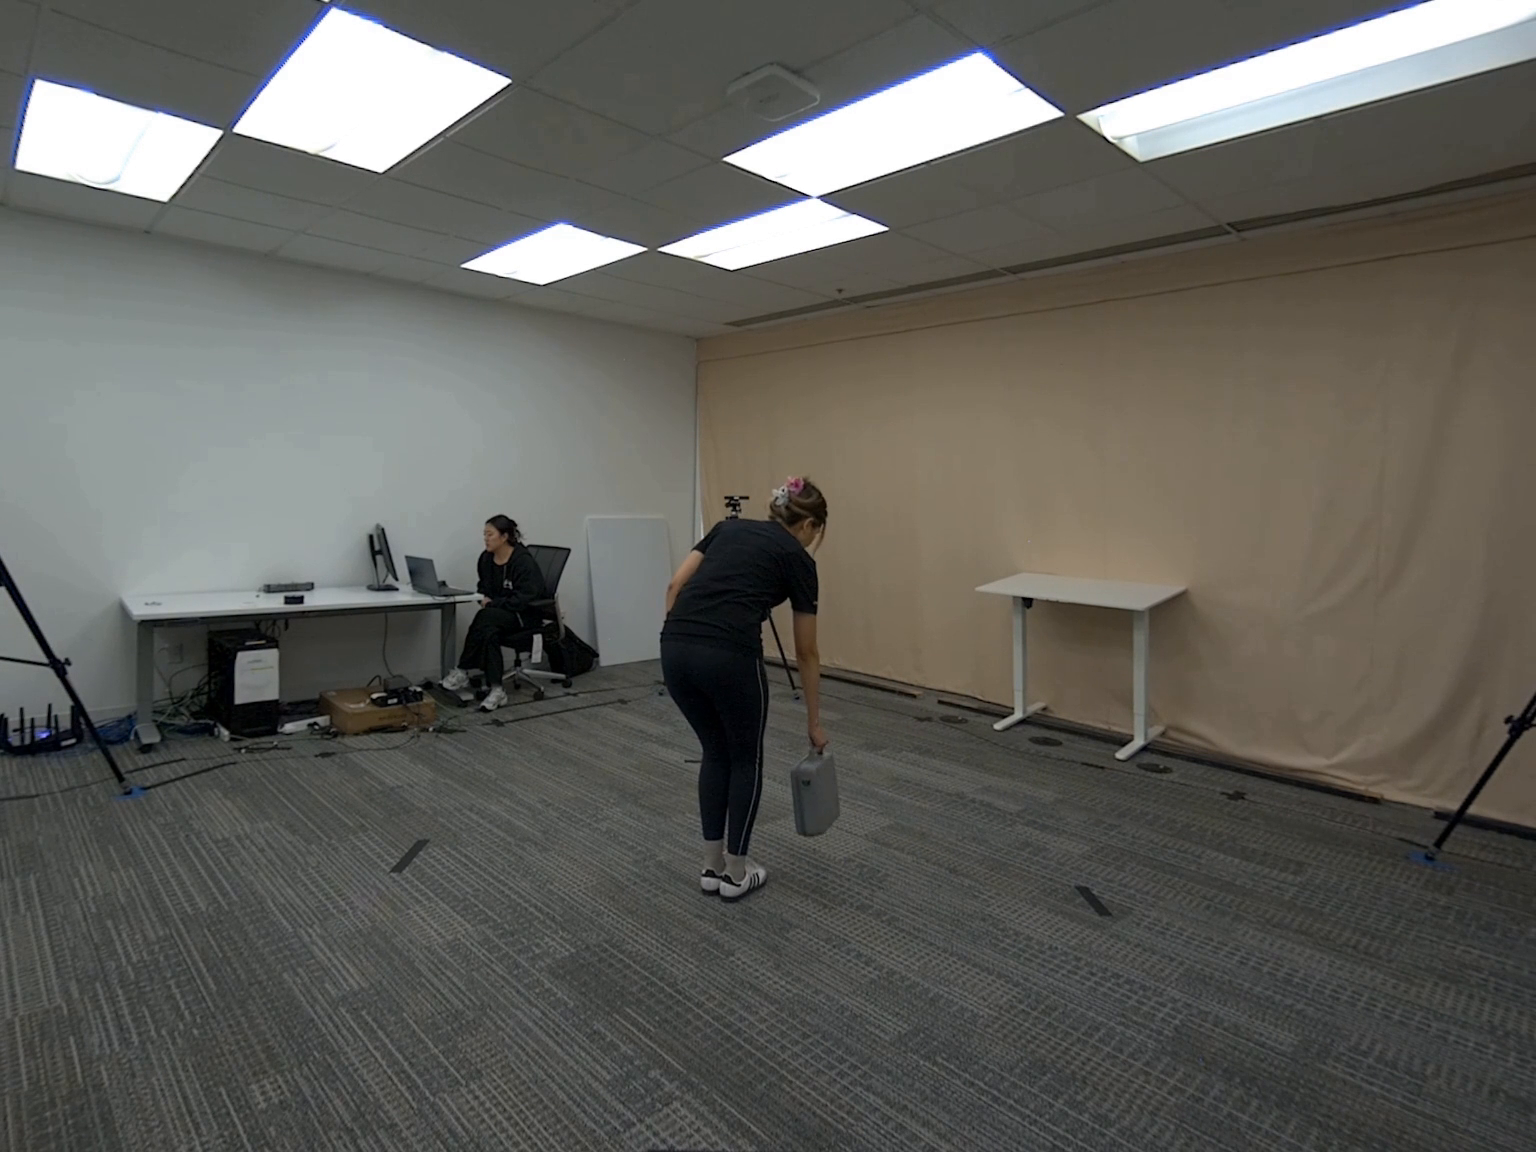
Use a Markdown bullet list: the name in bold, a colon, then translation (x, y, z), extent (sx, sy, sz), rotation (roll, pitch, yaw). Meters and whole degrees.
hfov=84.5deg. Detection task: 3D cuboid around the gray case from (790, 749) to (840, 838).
- **gray case**: translation (0.160, 0.788, 3.094), extent (0.106, 0.260, 0.253), rotation (-4, 1, 21)
